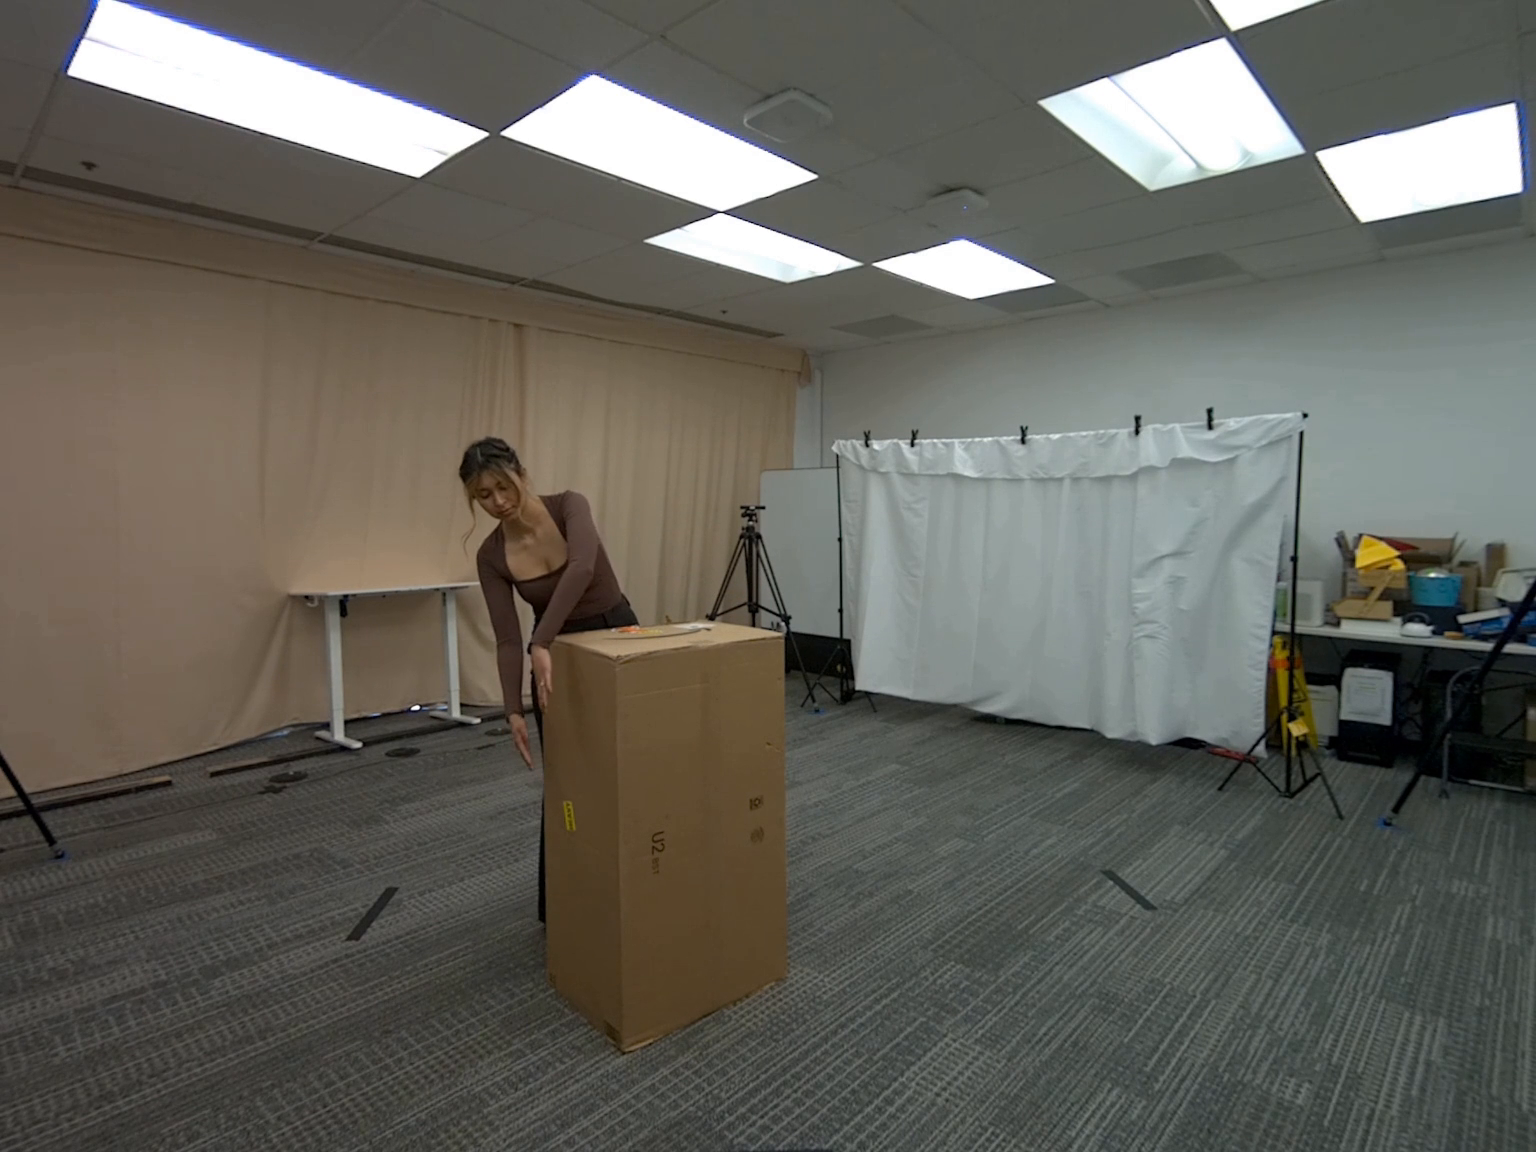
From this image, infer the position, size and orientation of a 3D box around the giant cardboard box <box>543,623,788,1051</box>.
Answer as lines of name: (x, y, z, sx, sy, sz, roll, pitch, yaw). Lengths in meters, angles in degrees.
giant cardboard box: (-0.293, 0.680, 2.454, 0.566, 1.025, 0.461, -3, 3, -39)
